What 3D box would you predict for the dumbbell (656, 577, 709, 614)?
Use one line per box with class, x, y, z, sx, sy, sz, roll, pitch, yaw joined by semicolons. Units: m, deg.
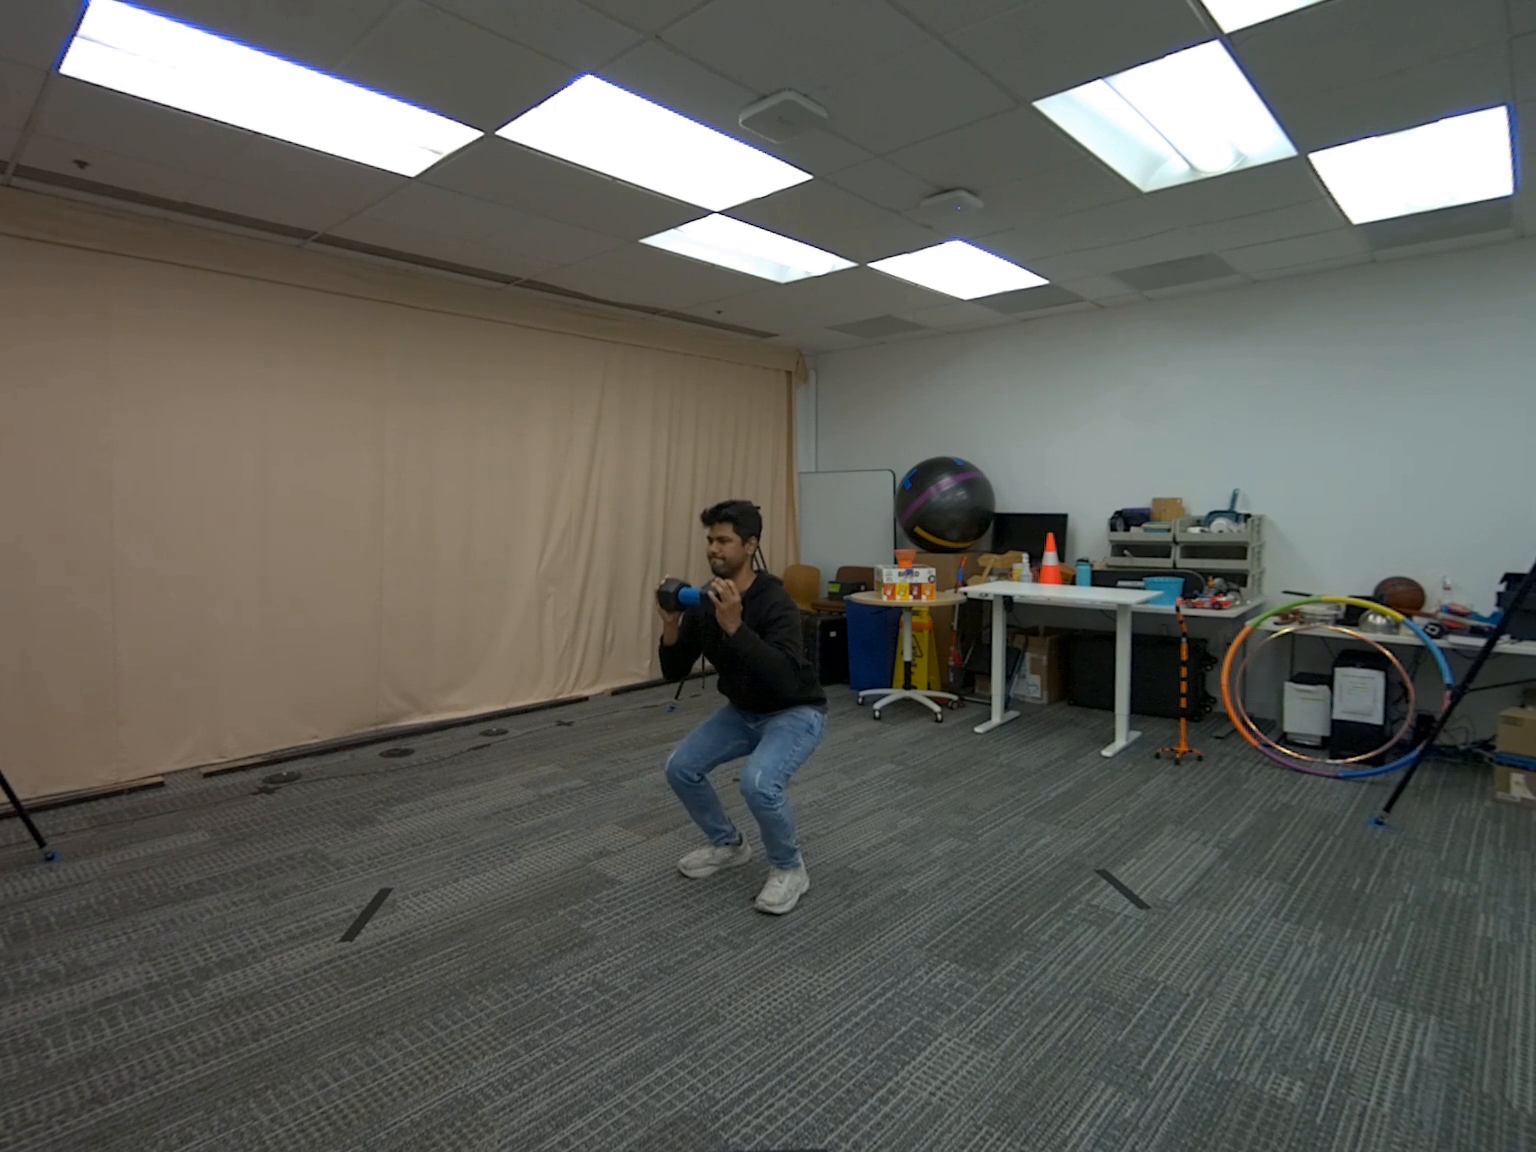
dumbbell;-0.234;0.070;2.883;0.303;0.122;0.106;4;13;44
